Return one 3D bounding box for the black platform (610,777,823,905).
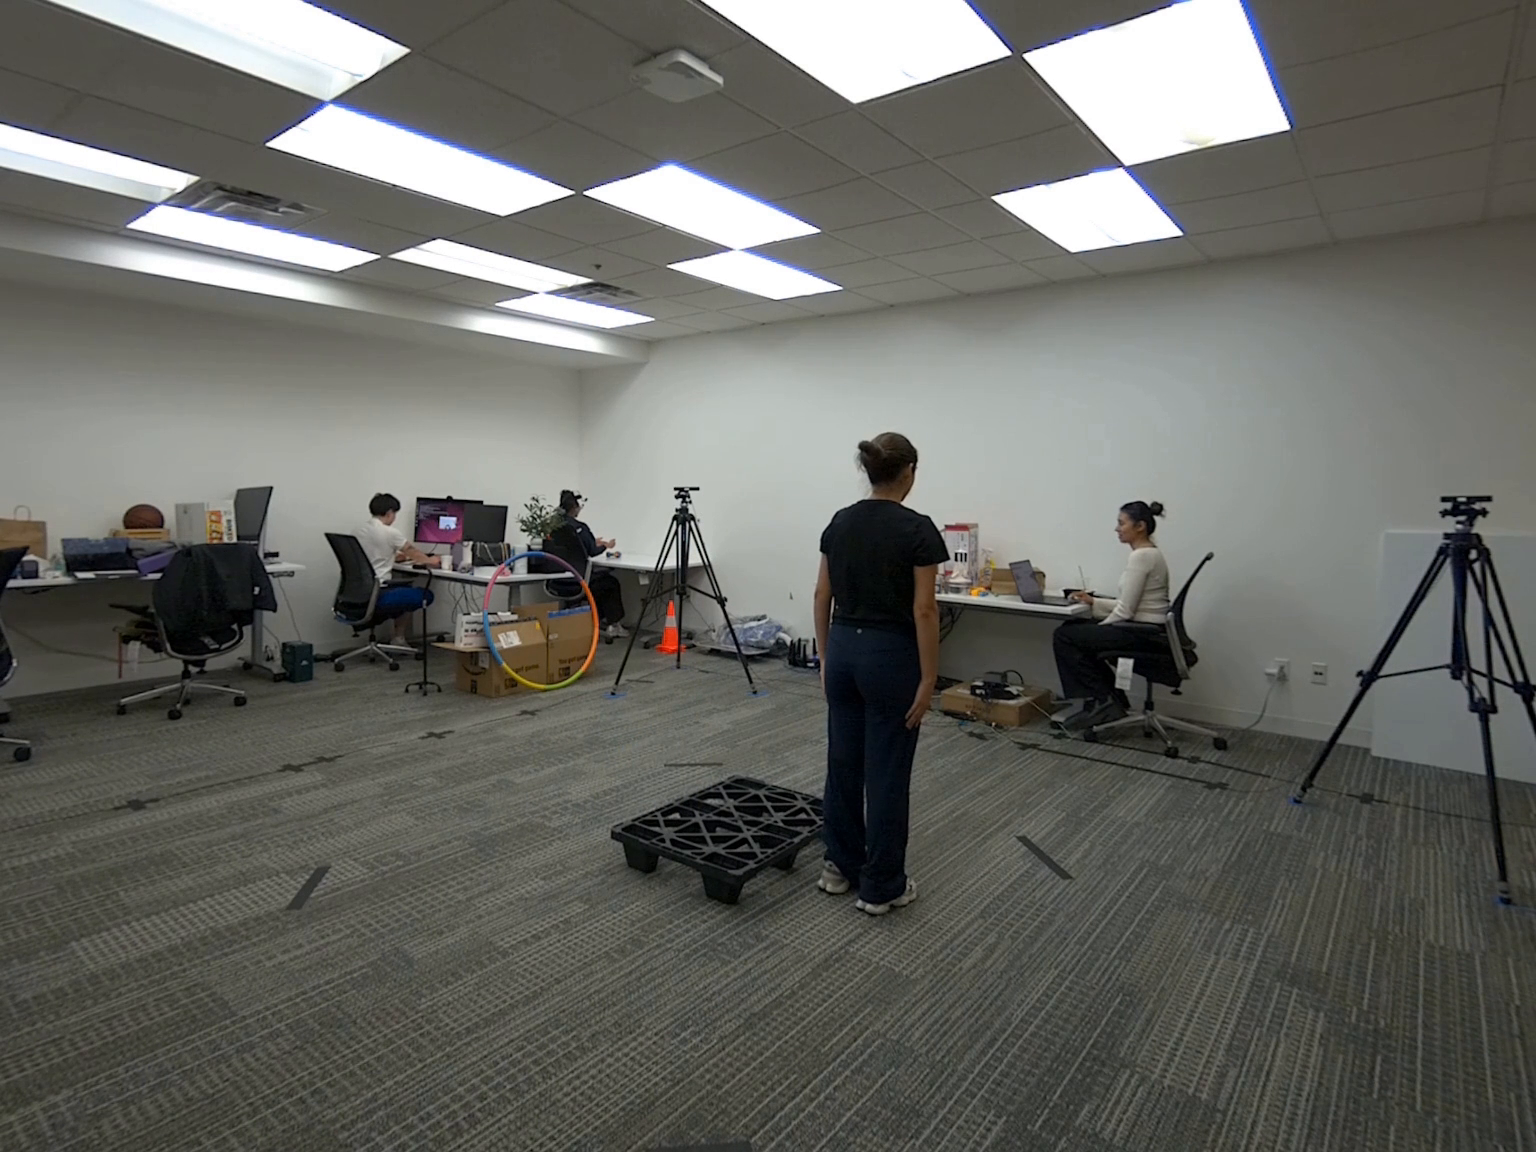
[{"bbox_3d":[-0.095,0.985,3.270,0.625,0.143,0.783,5,7,36],"label":"black platform"}]
